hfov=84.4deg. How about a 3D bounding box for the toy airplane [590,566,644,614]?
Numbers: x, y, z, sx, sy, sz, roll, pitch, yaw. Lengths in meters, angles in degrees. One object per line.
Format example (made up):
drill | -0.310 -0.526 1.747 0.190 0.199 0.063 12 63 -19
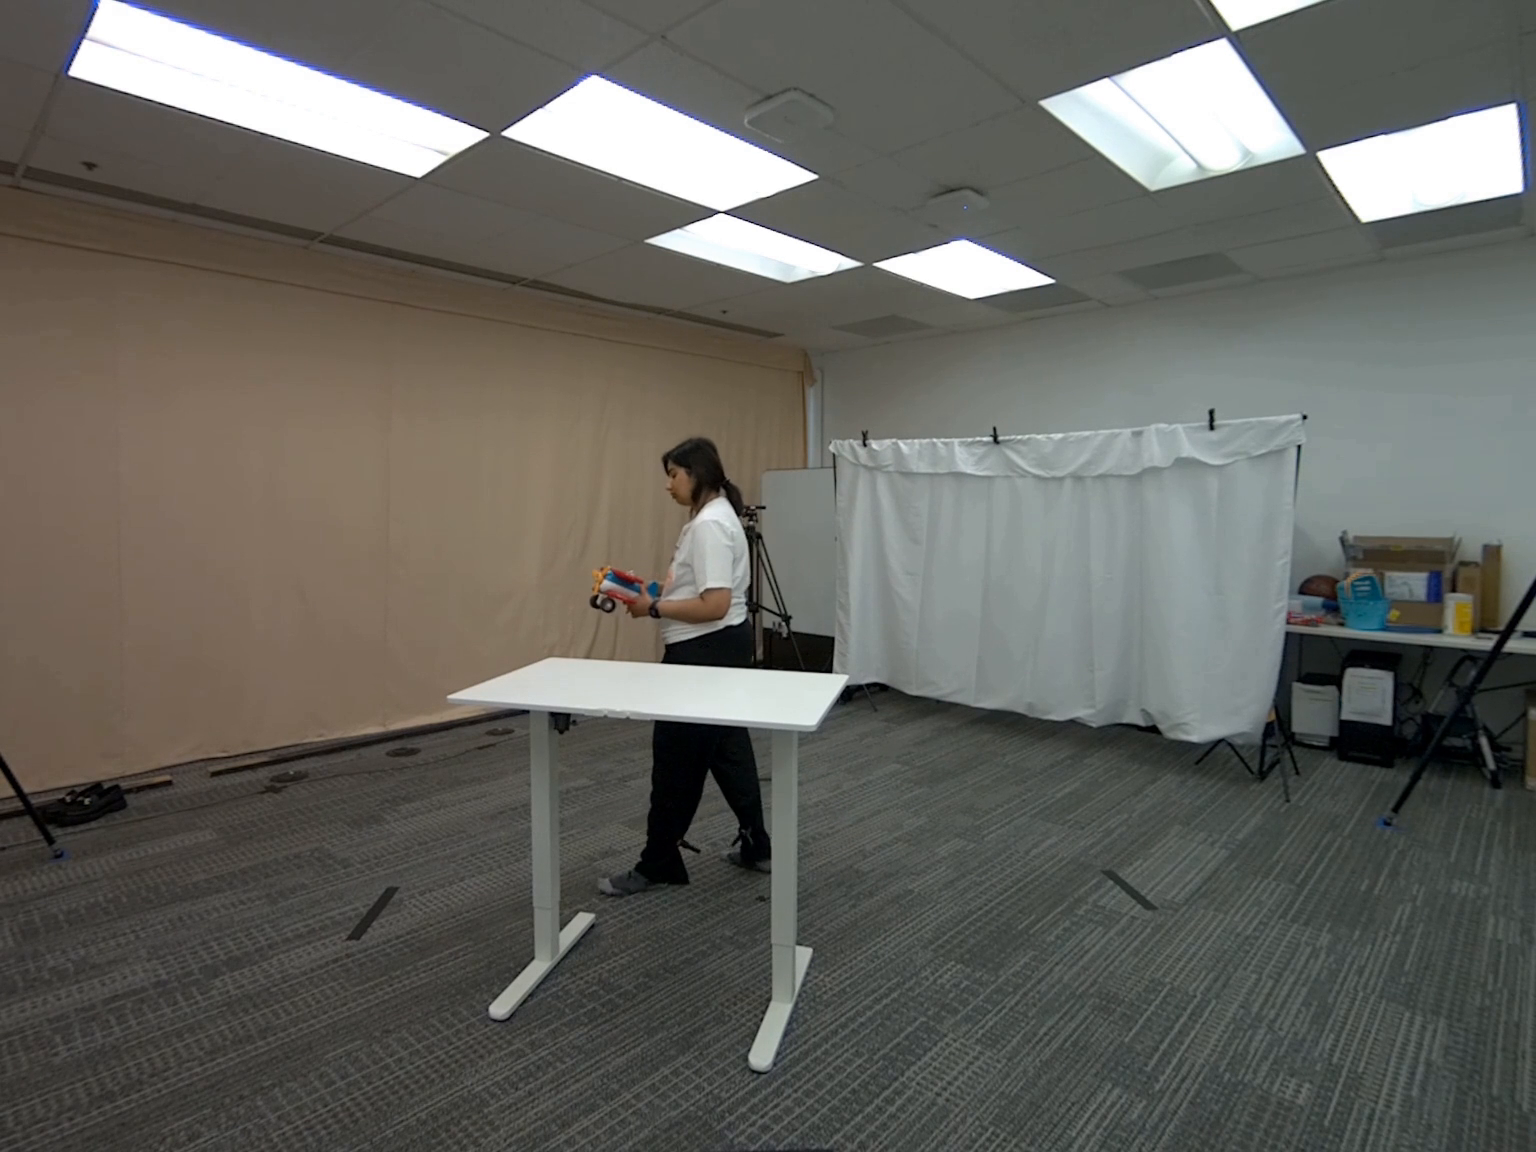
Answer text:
toy airplane | -0.531 0.058 3.081 0.258 0.156 0.252 10 1 25
